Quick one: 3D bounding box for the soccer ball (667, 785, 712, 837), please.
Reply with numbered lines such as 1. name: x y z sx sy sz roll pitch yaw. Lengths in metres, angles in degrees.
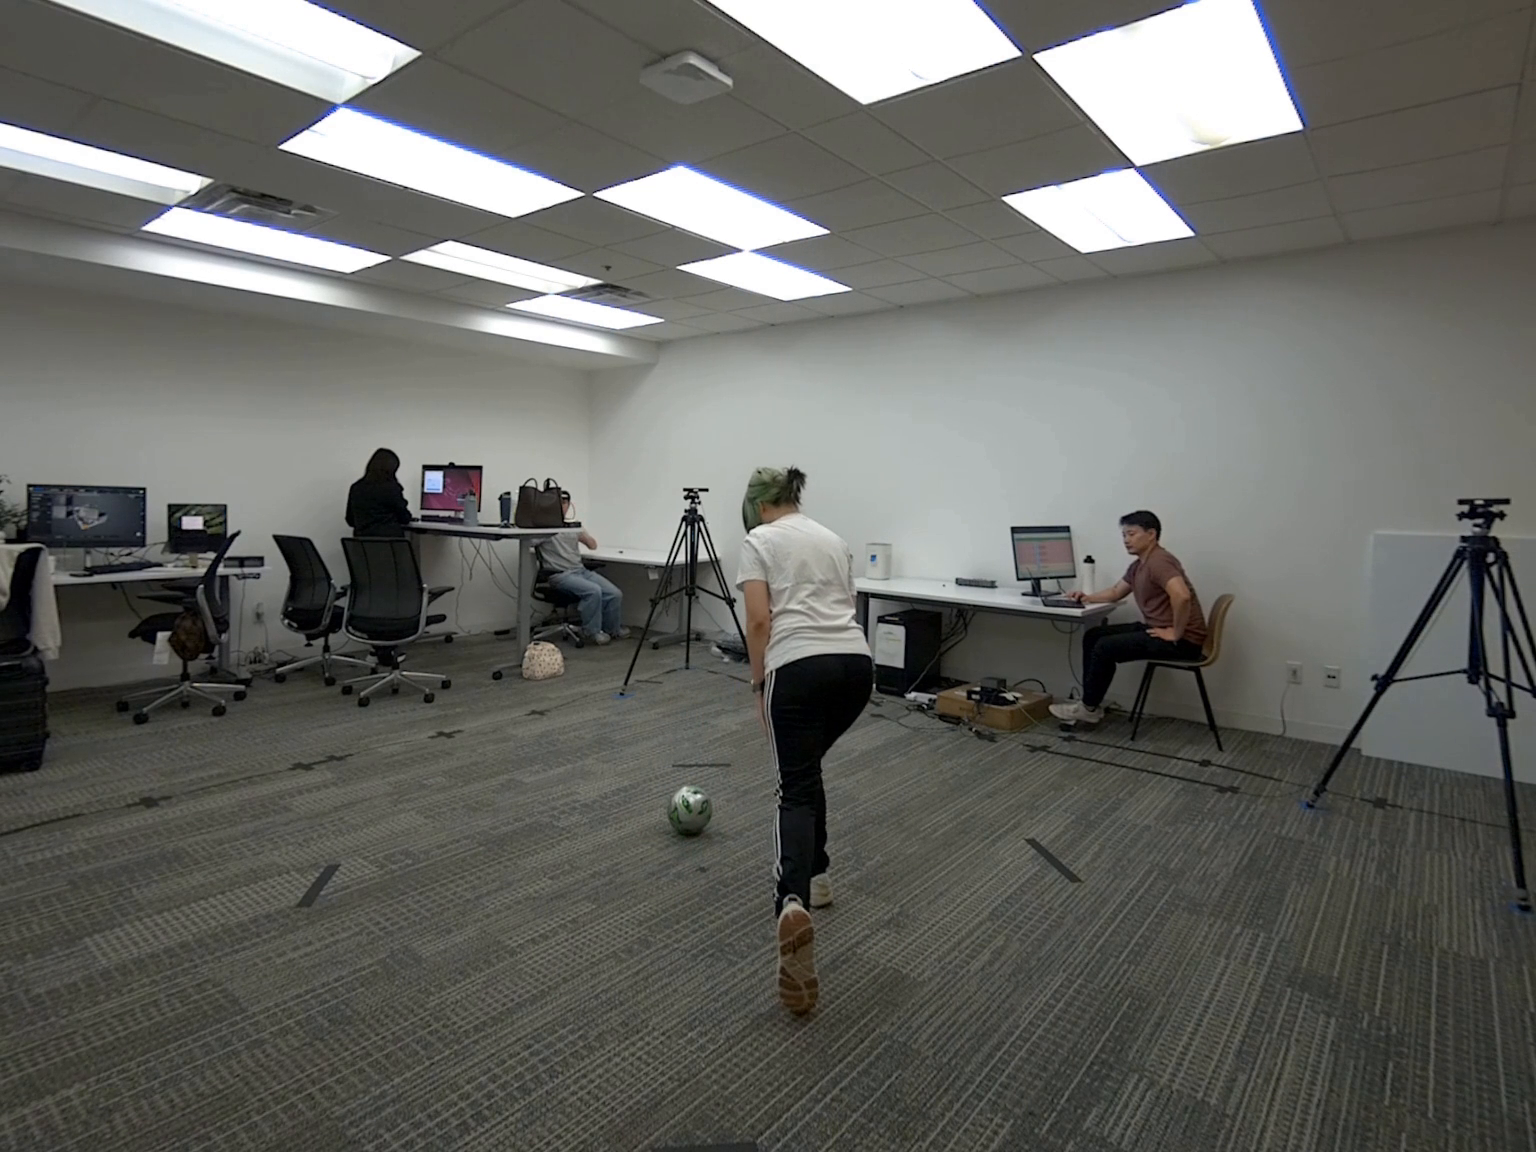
1. soccer ball: -0.329 0.943 3.440 0.187 0.187 0.188 1 4 -2
